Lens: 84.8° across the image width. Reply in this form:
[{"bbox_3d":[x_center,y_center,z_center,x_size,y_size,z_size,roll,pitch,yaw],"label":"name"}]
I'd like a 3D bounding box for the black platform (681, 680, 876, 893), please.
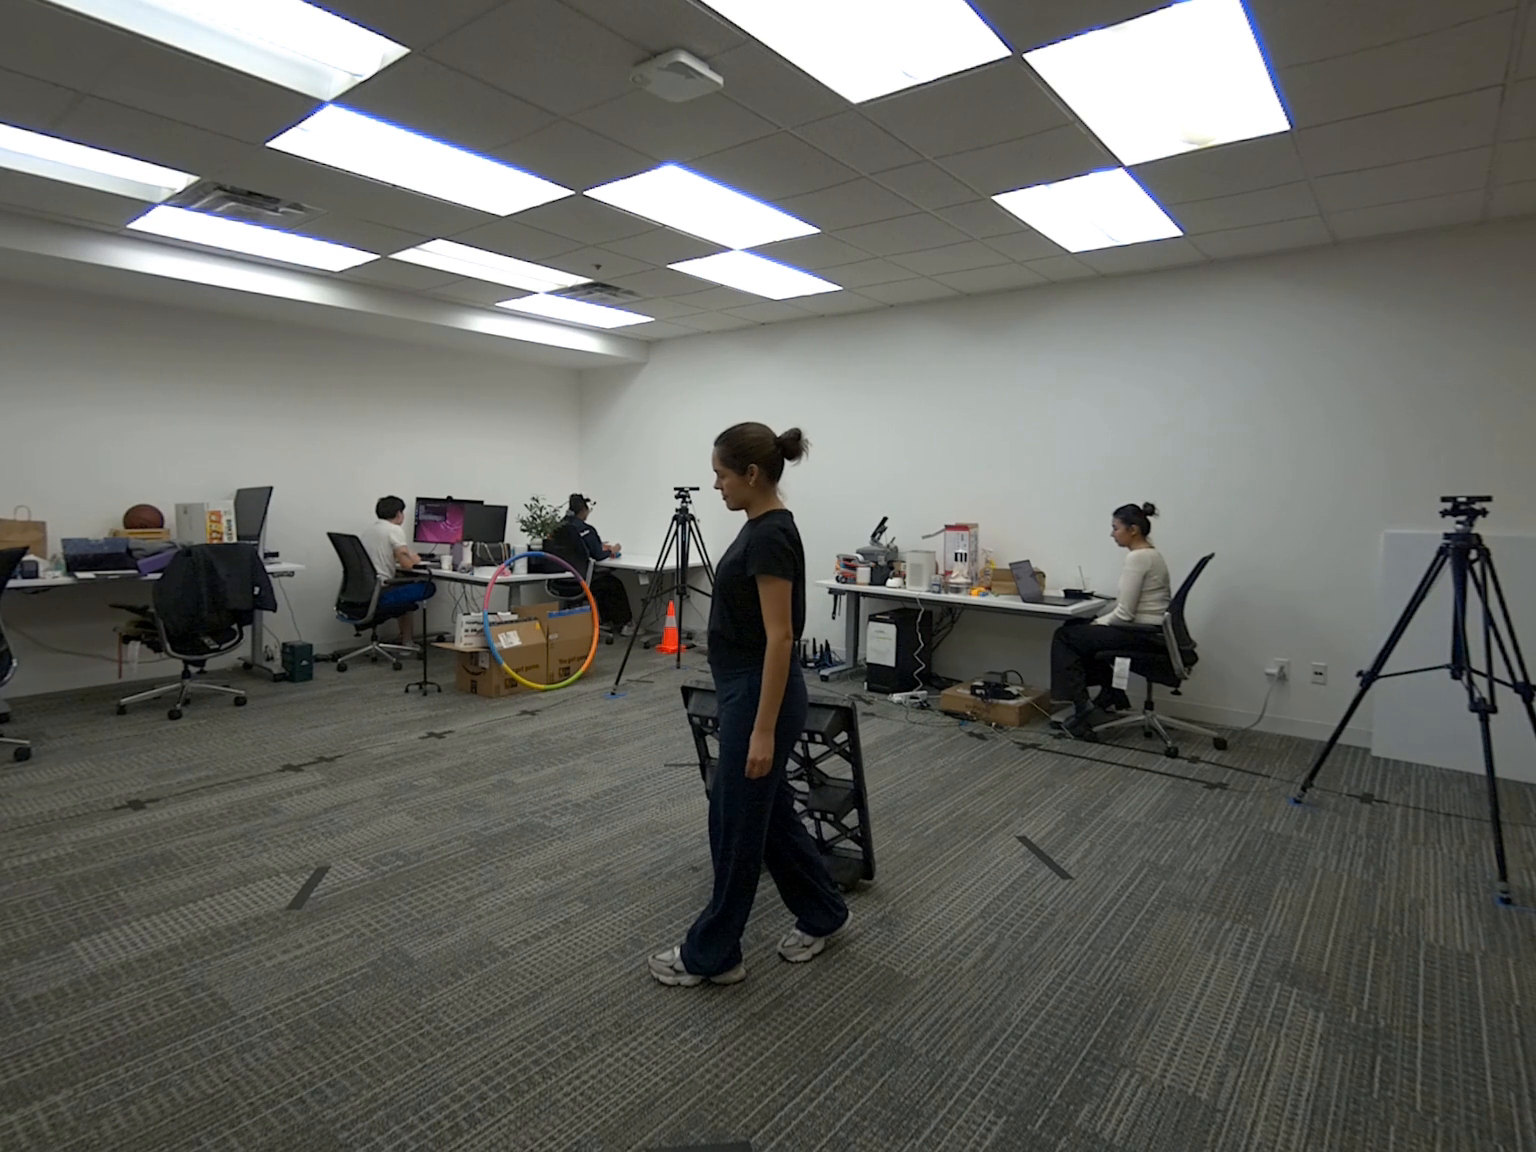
[{"bbox_3d":[0.036,0.731,2.921,0.620,0.783,0.144,3,31,24],"label":"black platform"}]
